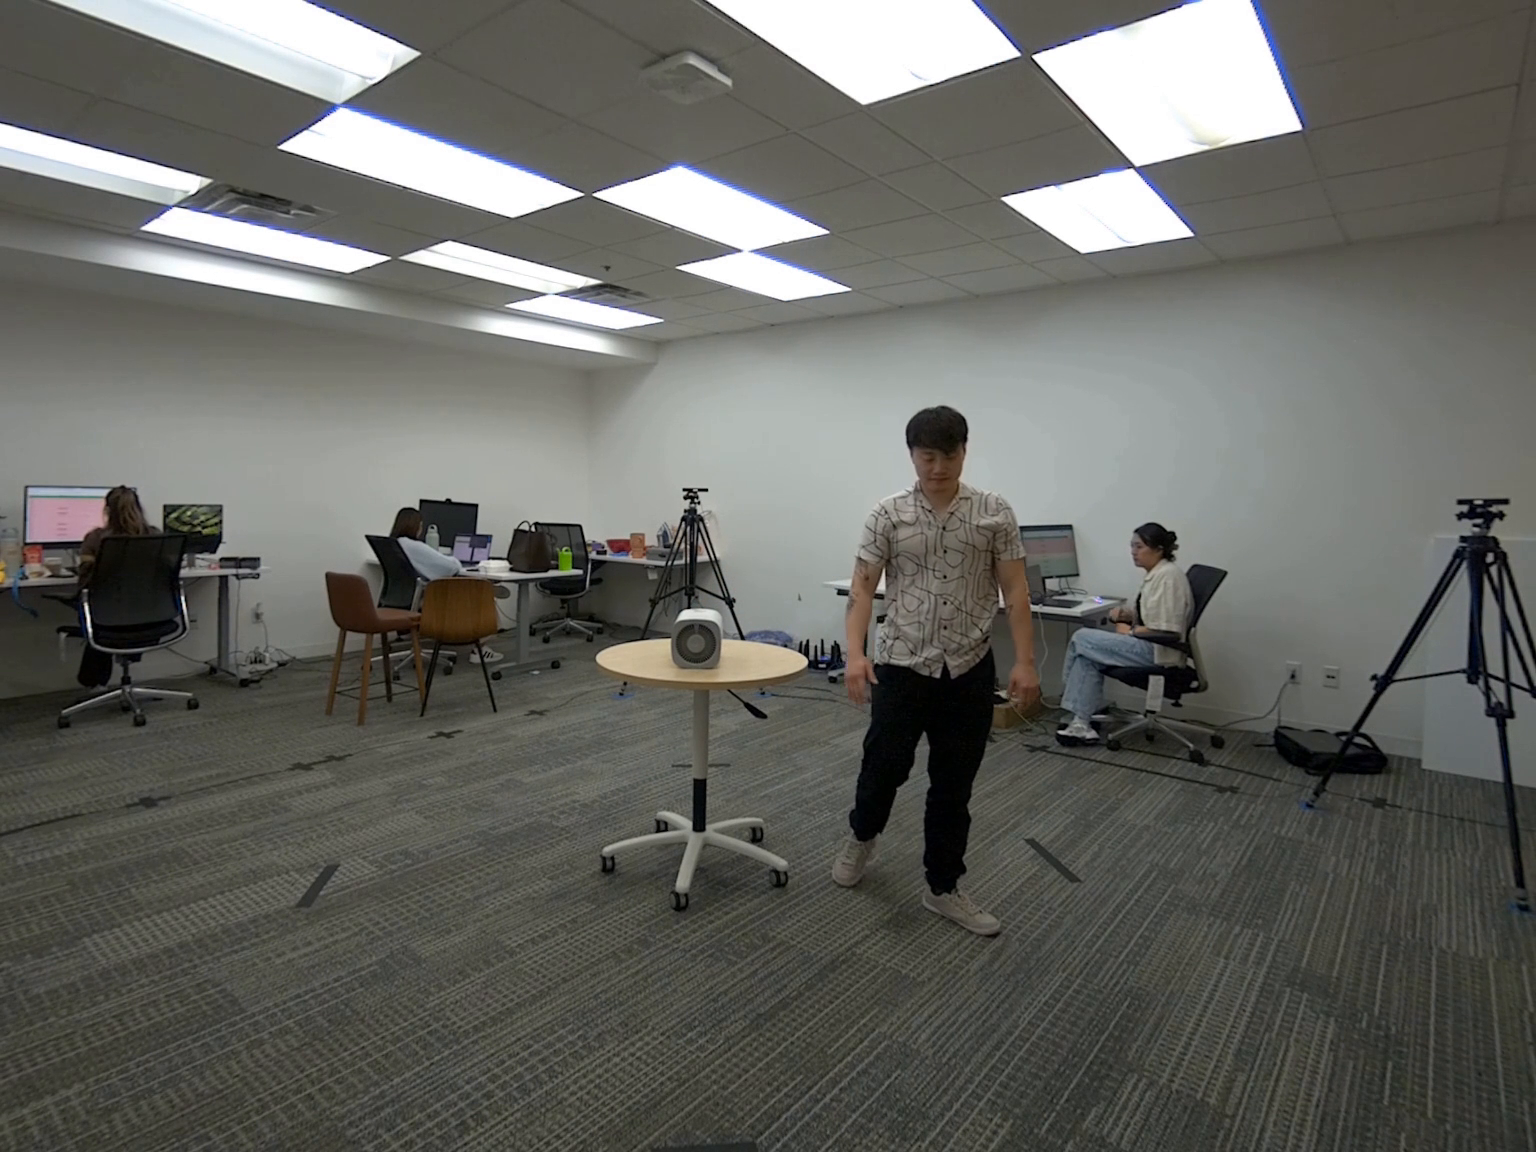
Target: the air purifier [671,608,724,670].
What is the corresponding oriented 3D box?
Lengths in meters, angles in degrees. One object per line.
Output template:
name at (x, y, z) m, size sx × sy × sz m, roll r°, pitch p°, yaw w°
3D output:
air purifier at (-0.257, 0.211, 3.018) m, size 0.171 × 0.171 × 0.266 m, roll 0°, pitch 5°, yaw -2°
